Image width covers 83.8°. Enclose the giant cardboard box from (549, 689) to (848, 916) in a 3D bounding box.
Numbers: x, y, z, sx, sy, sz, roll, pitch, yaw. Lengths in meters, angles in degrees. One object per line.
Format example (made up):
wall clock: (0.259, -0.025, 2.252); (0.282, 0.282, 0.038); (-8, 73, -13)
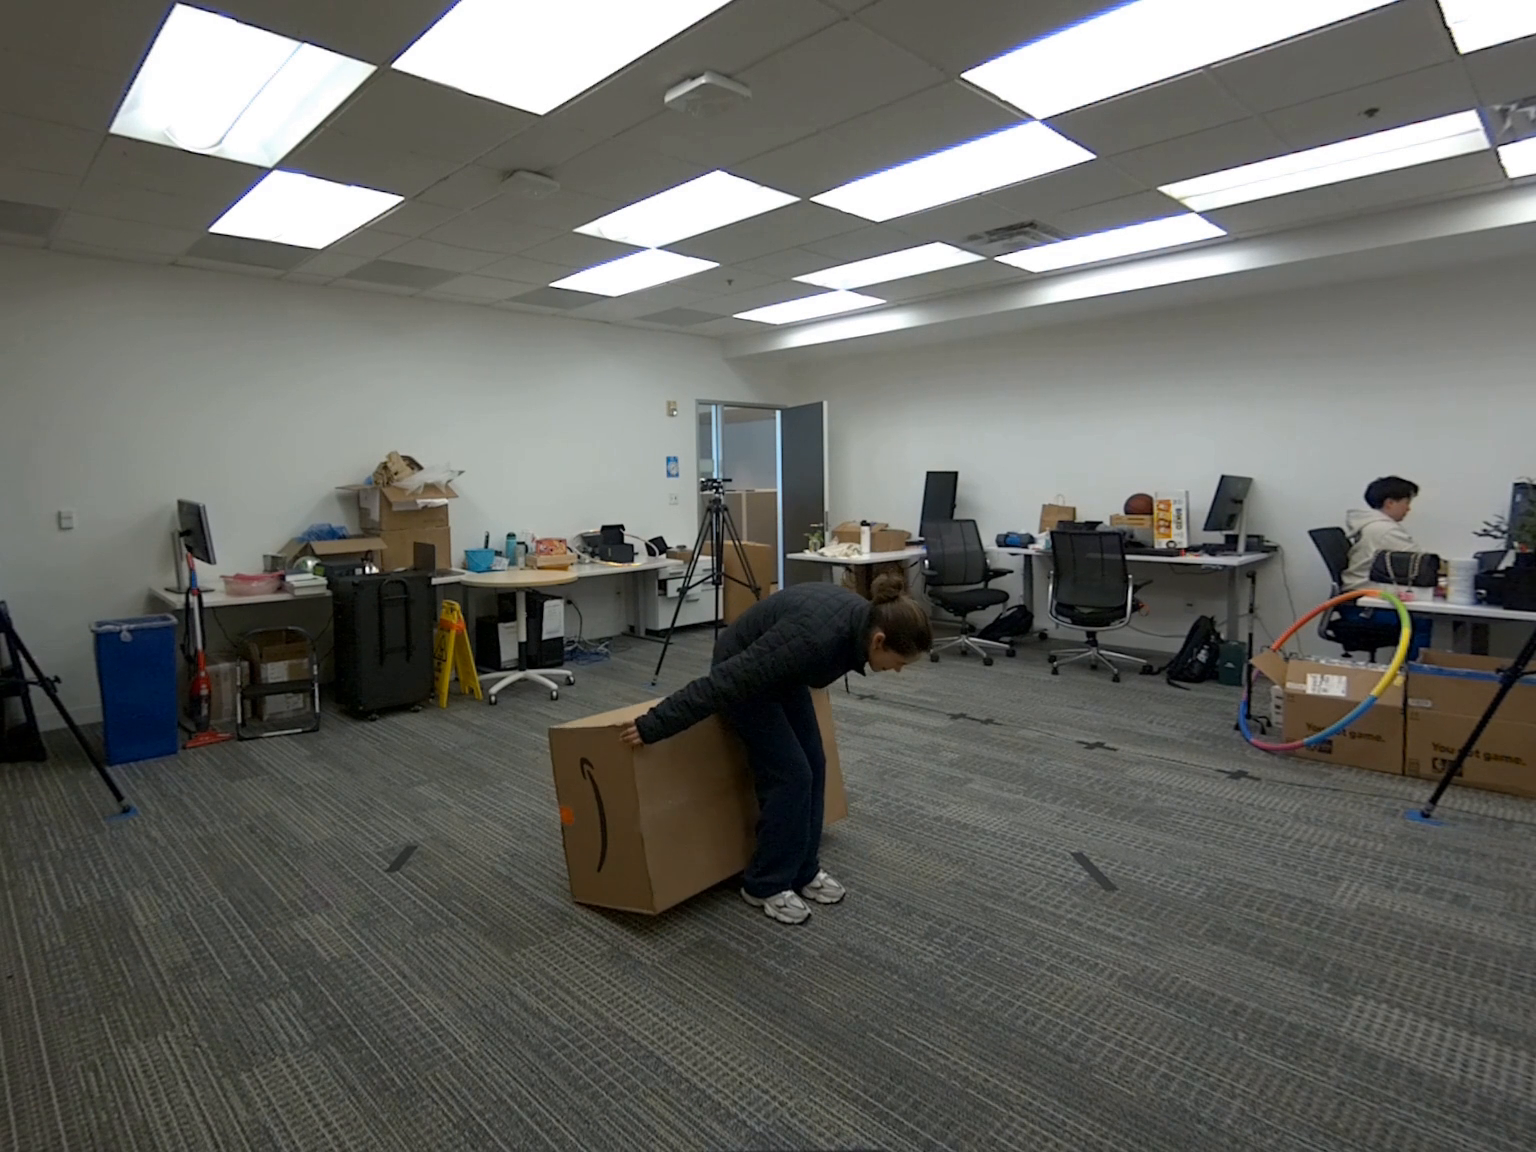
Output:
giant cardboard box: (-0.220, 0.726, 3.112); (0.436, 0.580, 0.999); (-12, -3, 41)
